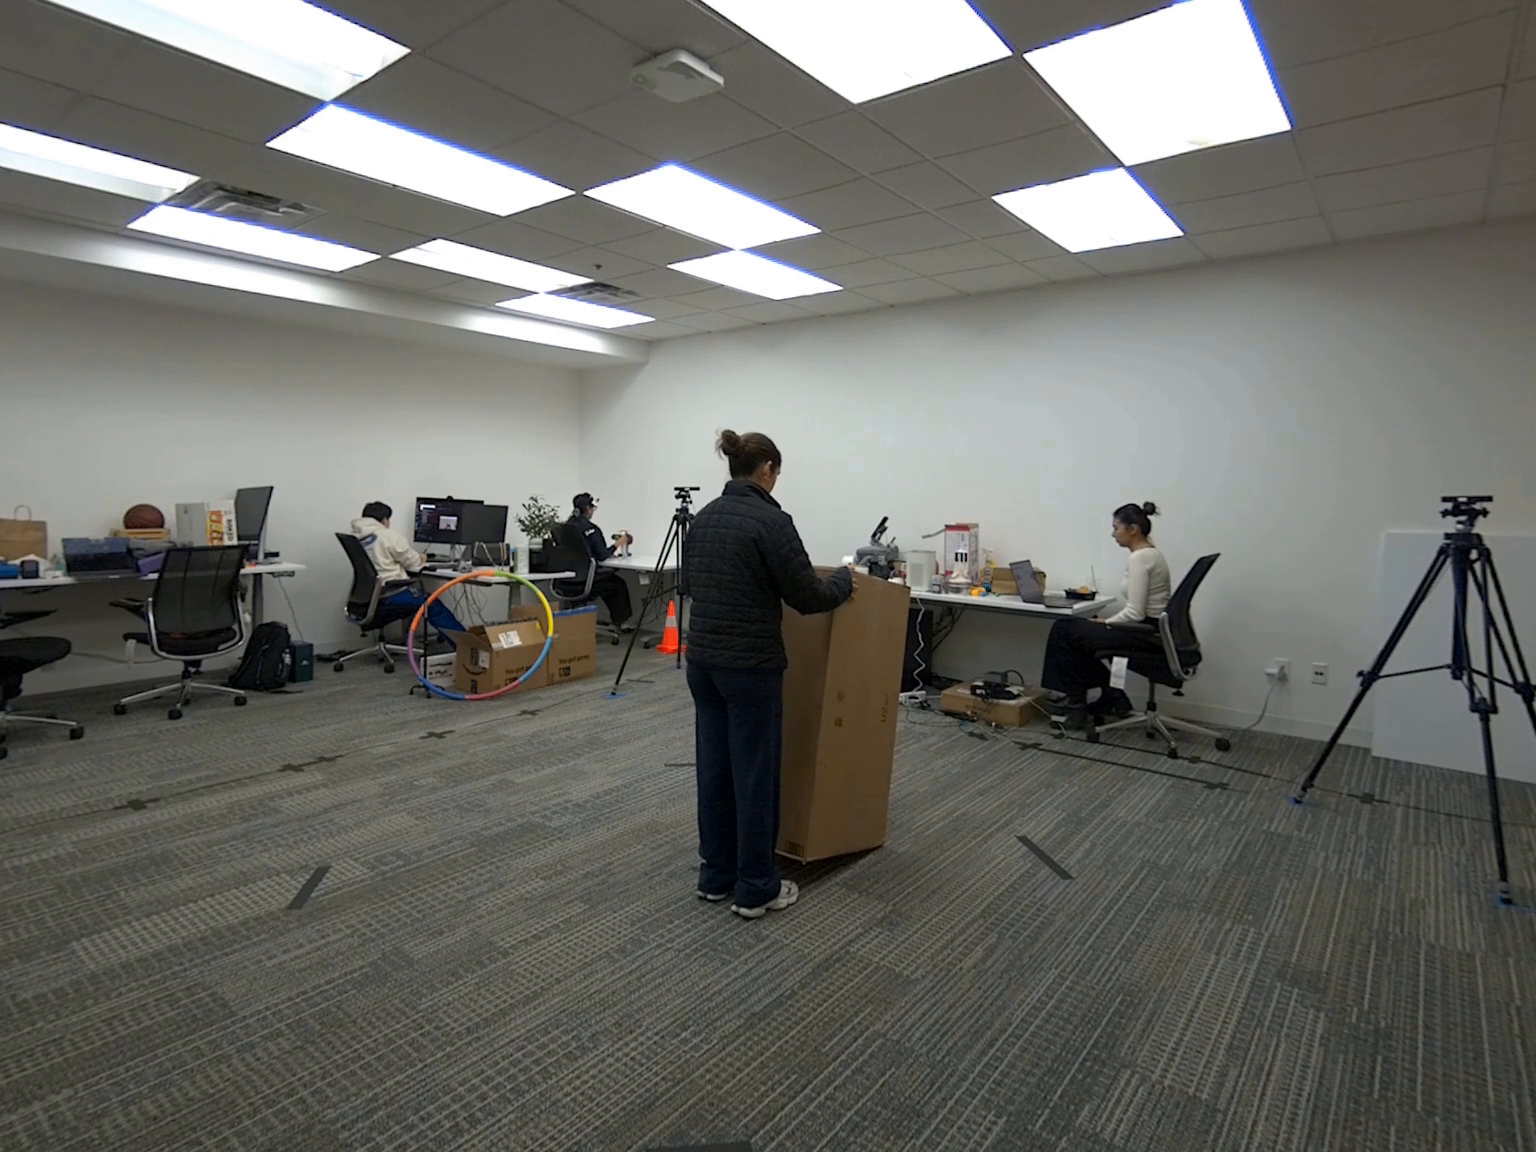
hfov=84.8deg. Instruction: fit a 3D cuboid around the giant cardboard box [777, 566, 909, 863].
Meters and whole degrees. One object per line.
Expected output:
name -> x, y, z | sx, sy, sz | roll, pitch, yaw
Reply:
giant cardboard box -> 0.206, 0.500, 3.329 | 0.440, 1.031, 0.556 | 3, -7, 39
